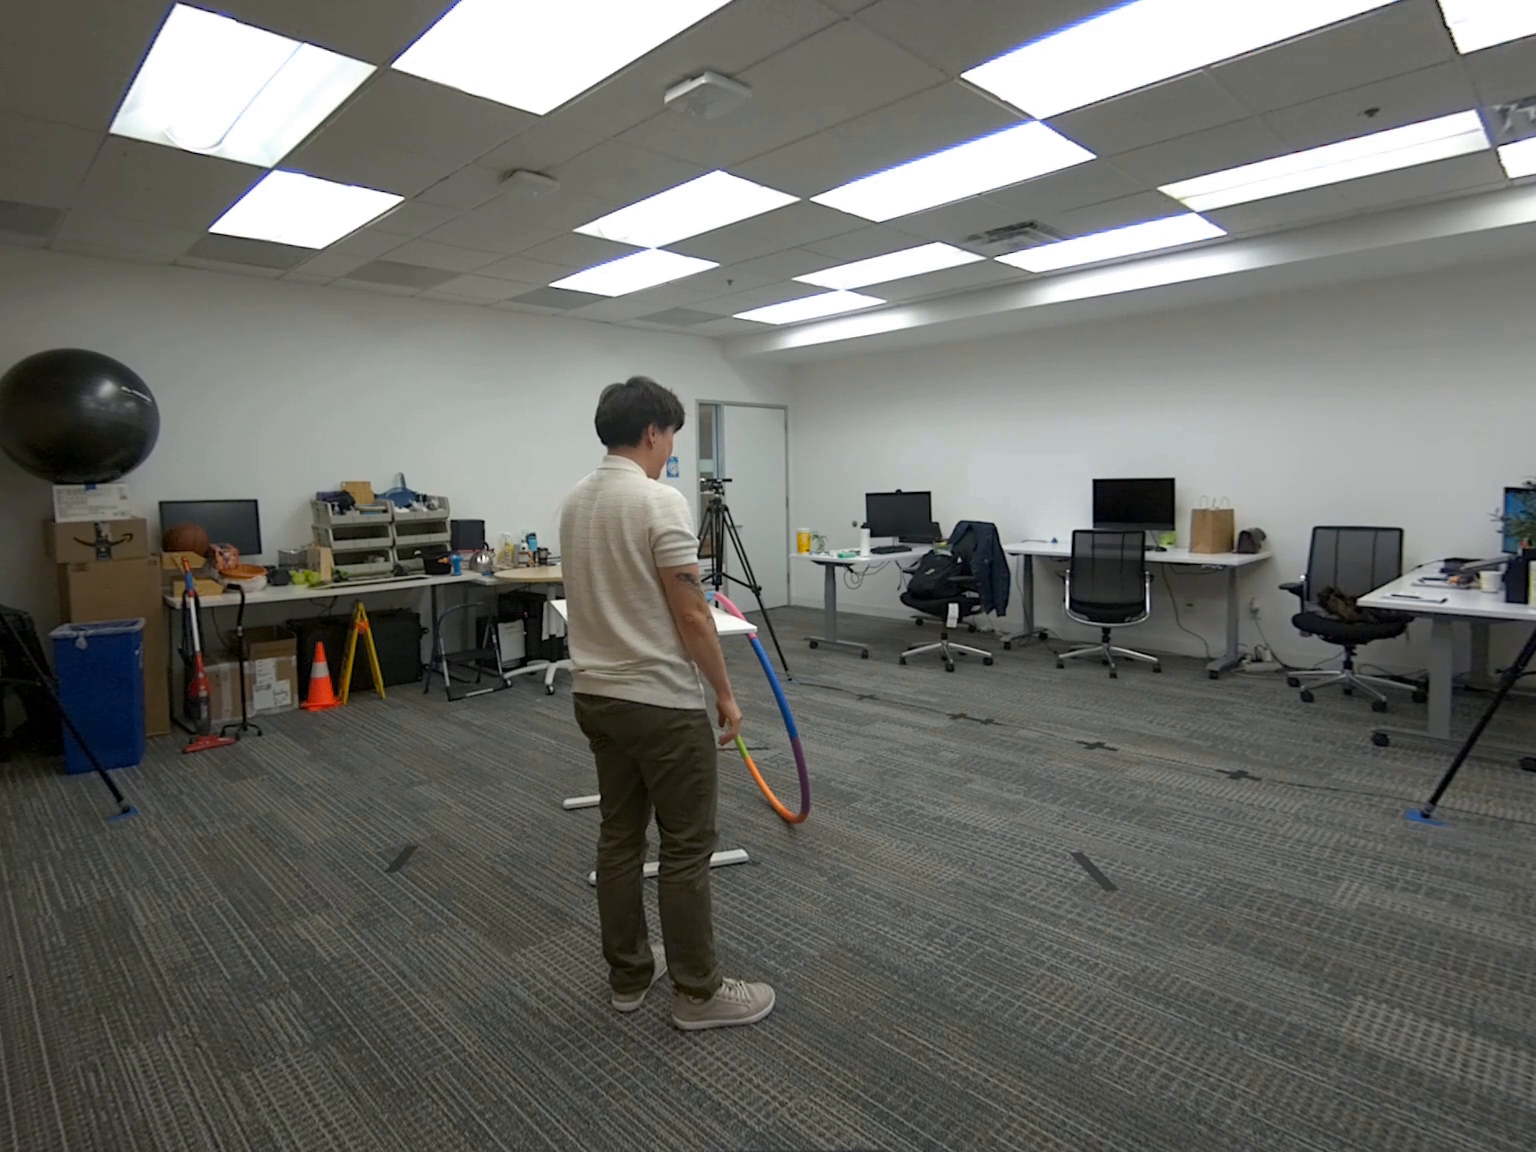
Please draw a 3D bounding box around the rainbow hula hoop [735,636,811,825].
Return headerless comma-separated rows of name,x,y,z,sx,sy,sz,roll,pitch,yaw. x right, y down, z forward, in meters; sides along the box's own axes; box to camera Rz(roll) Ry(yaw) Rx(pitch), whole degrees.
rainbow hula hoop,-0.064,0.535,3.497,0.035,0.969,0.999,-19,10,-17
